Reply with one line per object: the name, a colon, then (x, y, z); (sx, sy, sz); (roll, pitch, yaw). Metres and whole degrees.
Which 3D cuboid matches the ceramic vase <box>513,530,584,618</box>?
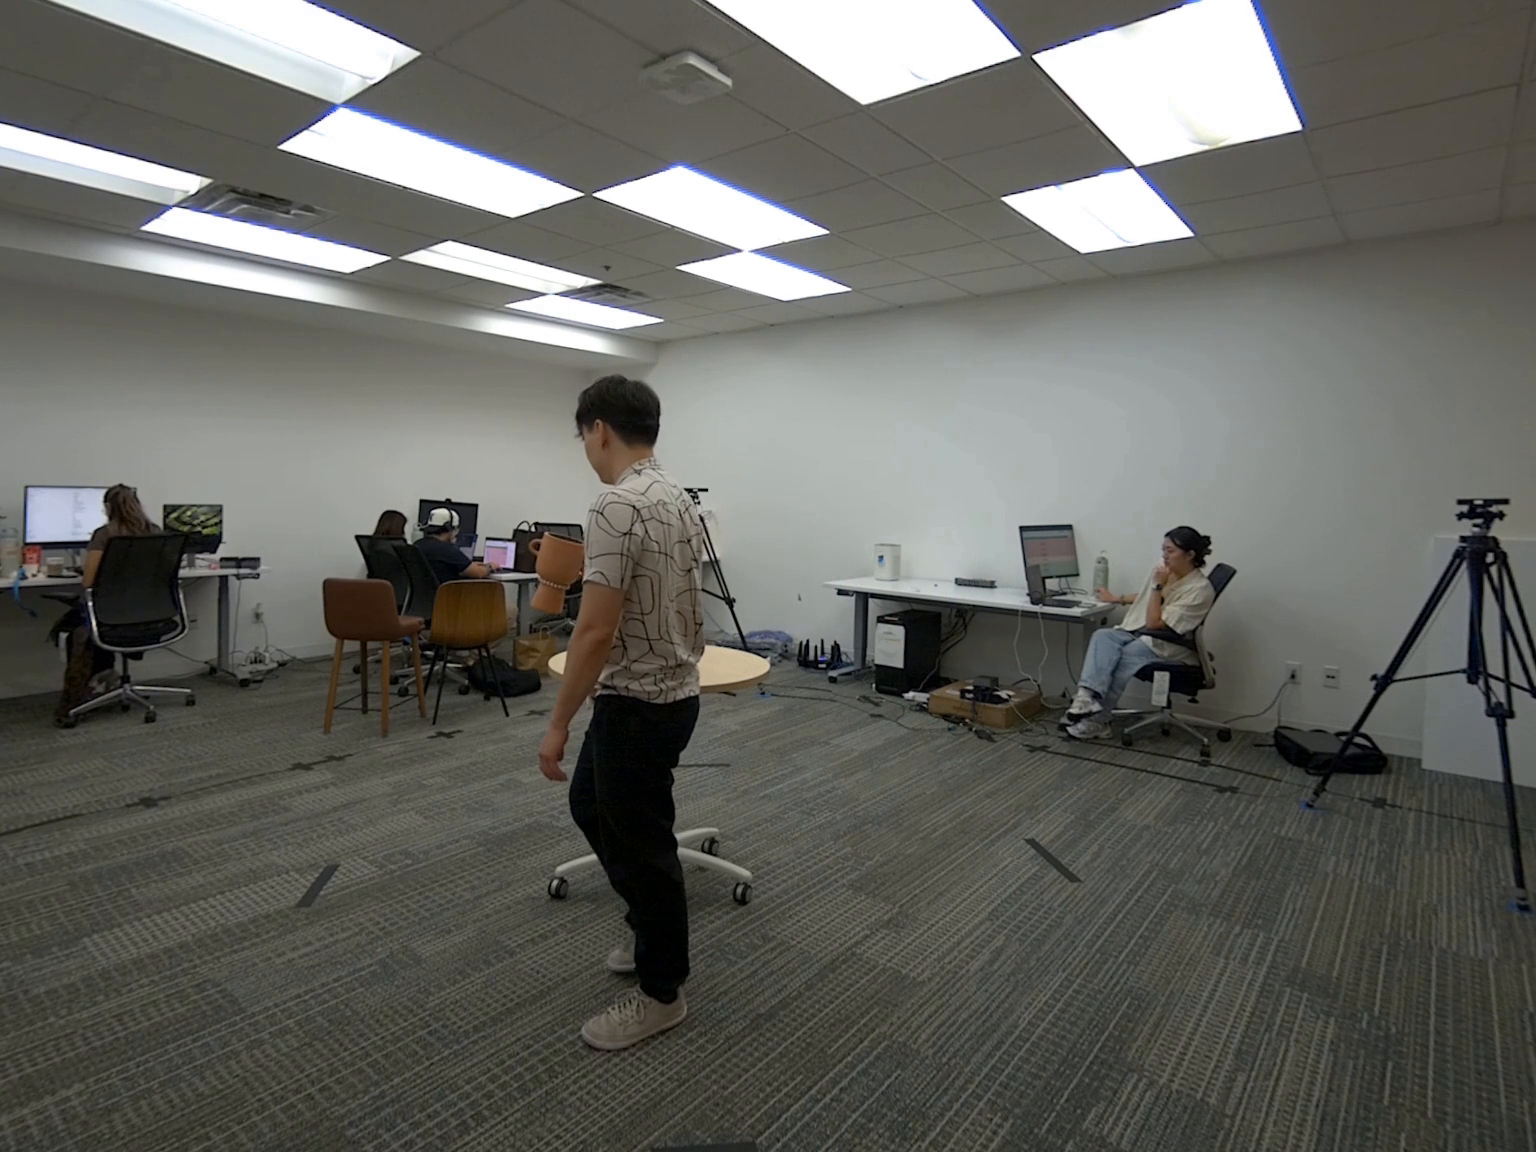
ceramic vase: (-0.639, -0.007, 2.528); (0.165, 0.219, 0.130); (17, 4, 34)
